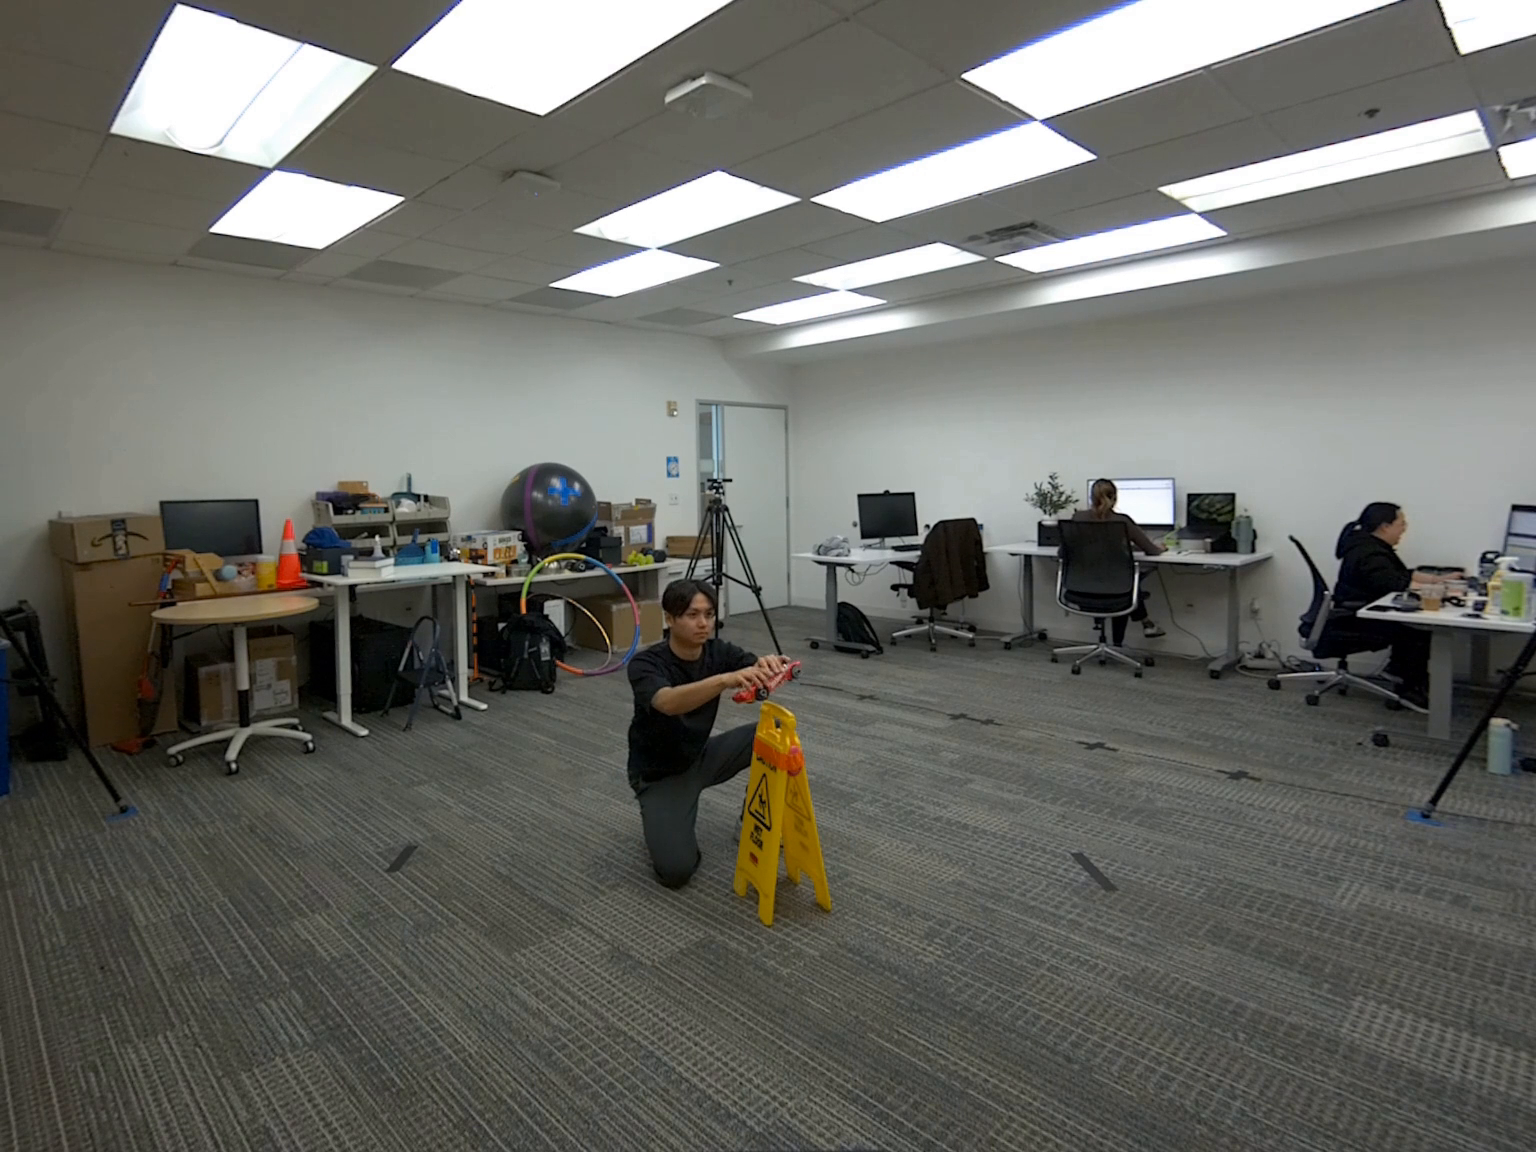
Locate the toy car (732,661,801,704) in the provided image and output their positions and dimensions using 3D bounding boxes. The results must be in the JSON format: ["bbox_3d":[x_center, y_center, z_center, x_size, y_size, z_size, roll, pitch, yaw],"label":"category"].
[{"bbox_3d":[-0.010,0.356,2.750,0.250,0.084,0.131,-17,-4,-26],"label":"toy car"}]
